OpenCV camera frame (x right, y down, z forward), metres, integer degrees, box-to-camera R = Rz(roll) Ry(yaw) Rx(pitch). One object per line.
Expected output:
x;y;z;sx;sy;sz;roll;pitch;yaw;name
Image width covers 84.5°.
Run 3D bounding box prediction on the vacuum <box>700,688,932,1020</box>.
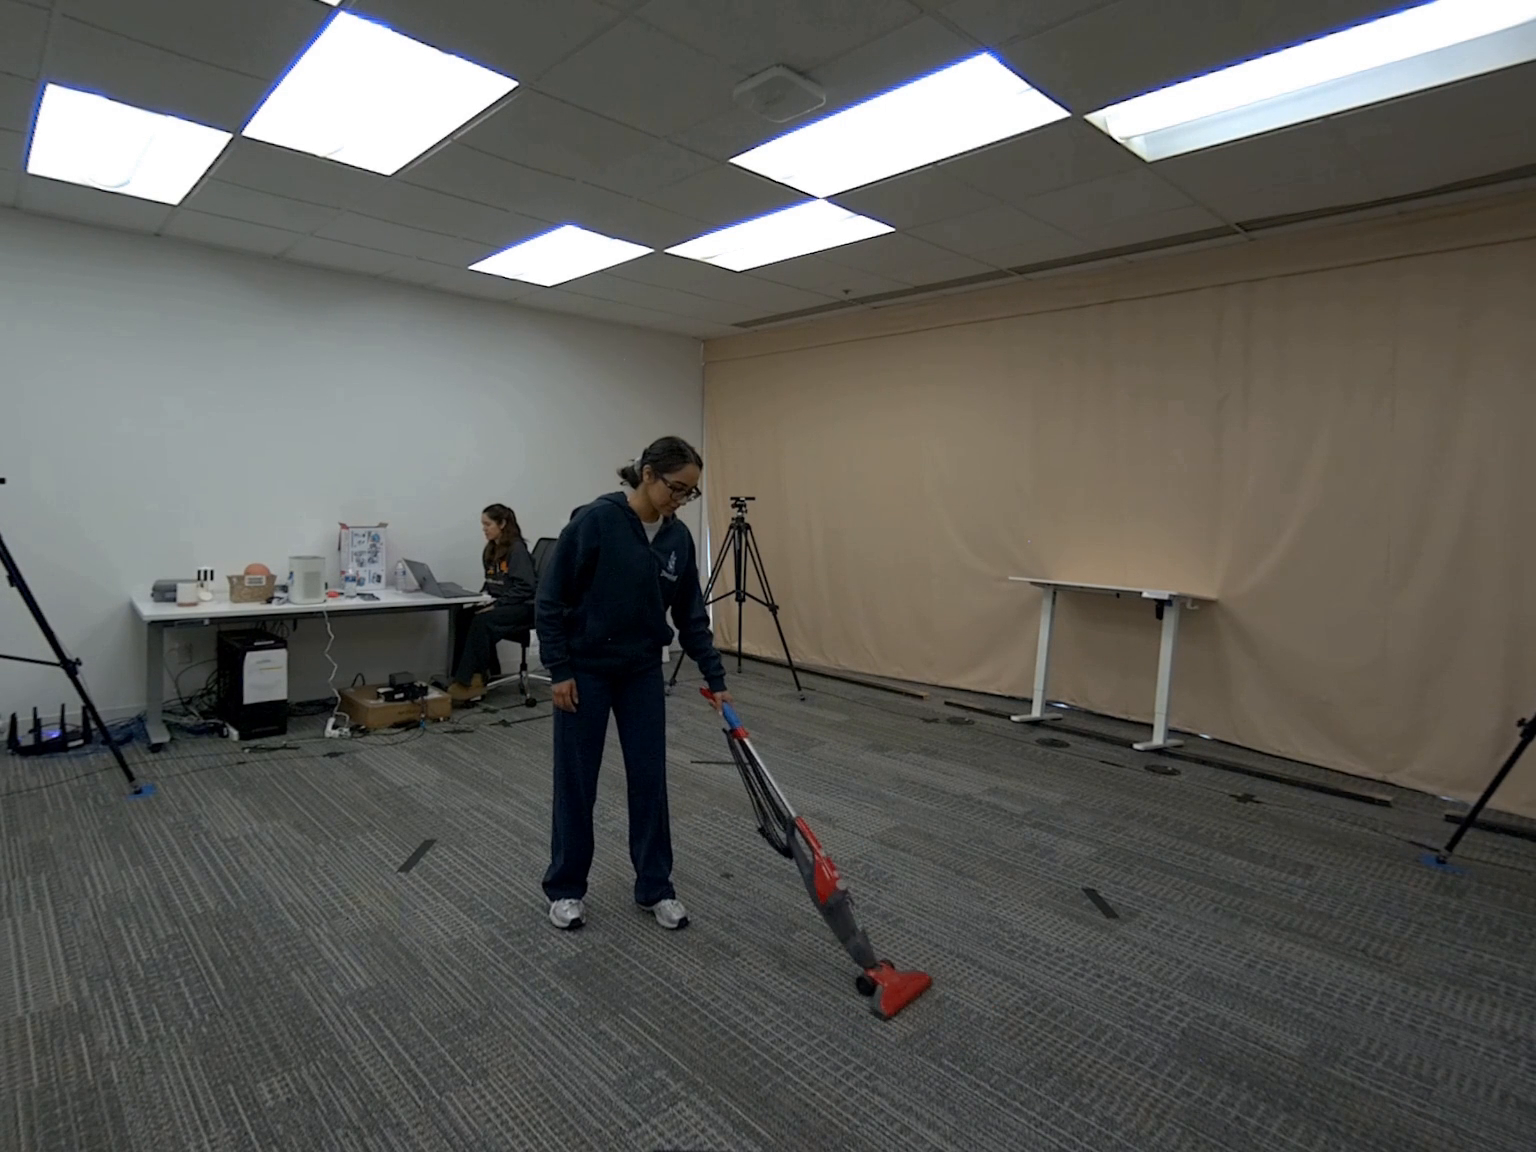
0.067;0.788;2.627;0.246;0.144;1.076;7;42;-55;vacuum
